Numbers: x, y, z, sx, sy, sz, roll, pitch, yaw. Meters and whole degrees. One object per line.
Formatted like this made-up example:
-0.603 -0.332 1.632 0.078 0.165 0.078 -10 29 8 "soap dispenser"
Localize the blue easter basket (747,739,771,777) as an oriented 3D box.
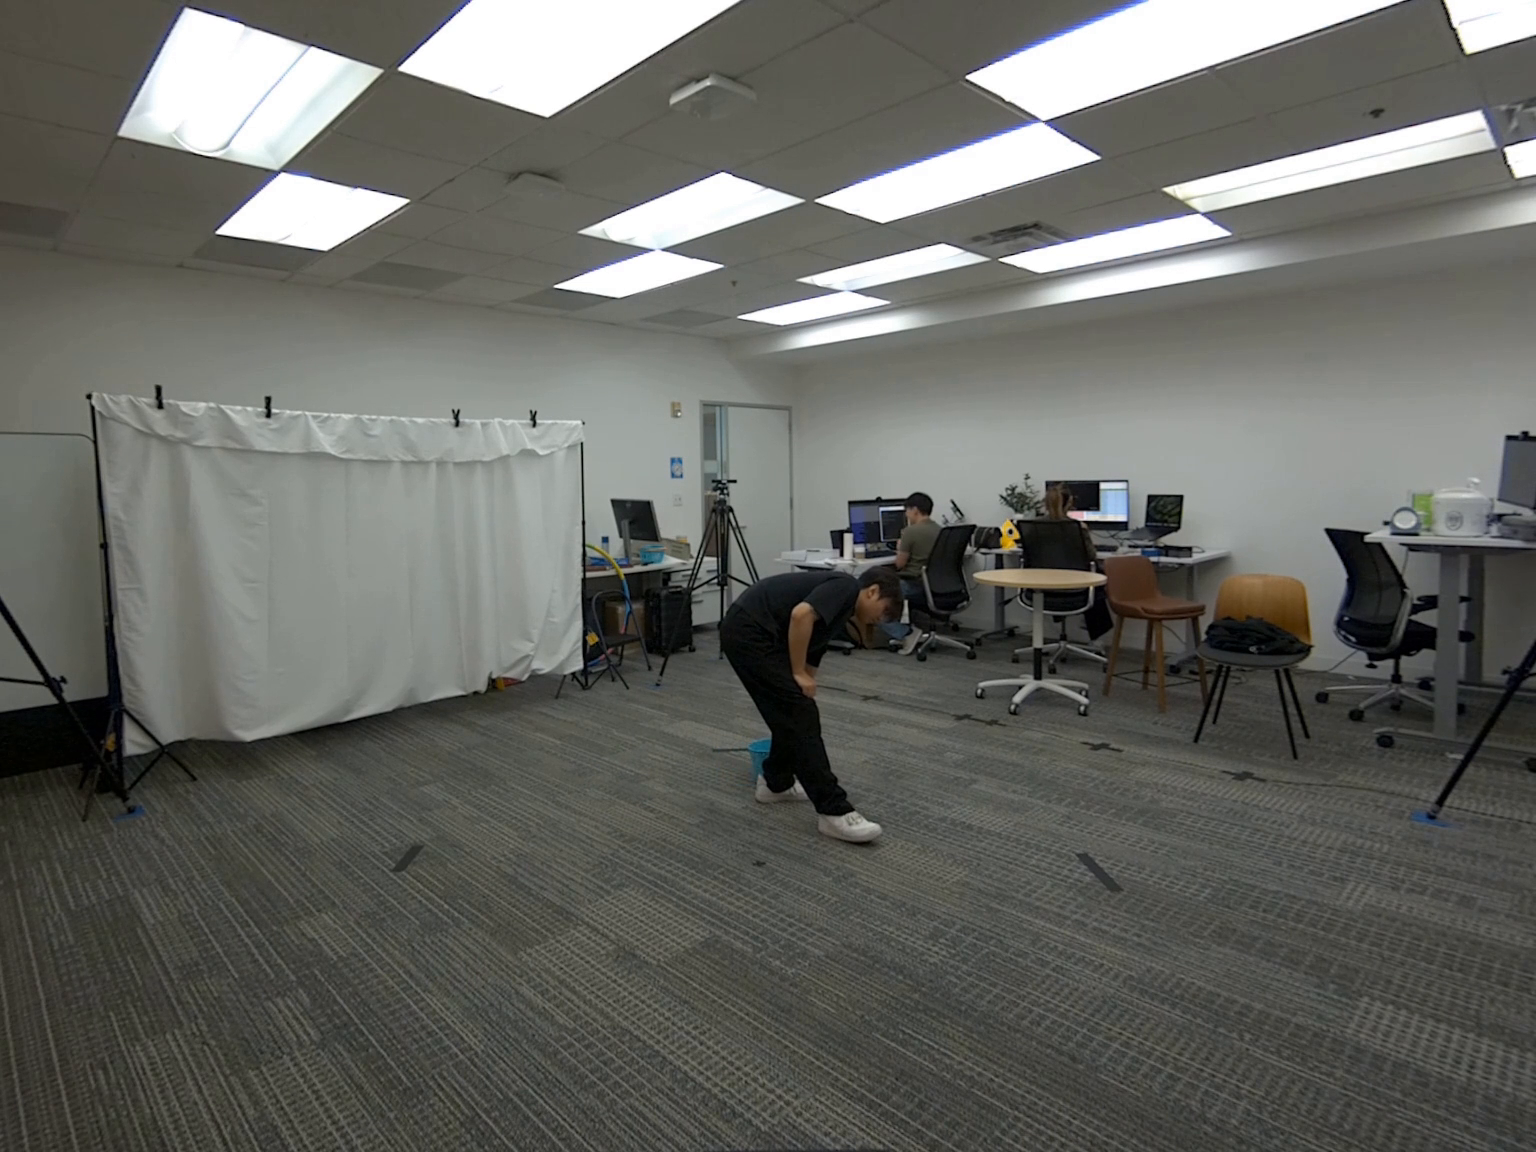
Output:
0.034 0.868 4.001 0.243 0.156 0.244 -4 2 -2 "blue easter basket"
